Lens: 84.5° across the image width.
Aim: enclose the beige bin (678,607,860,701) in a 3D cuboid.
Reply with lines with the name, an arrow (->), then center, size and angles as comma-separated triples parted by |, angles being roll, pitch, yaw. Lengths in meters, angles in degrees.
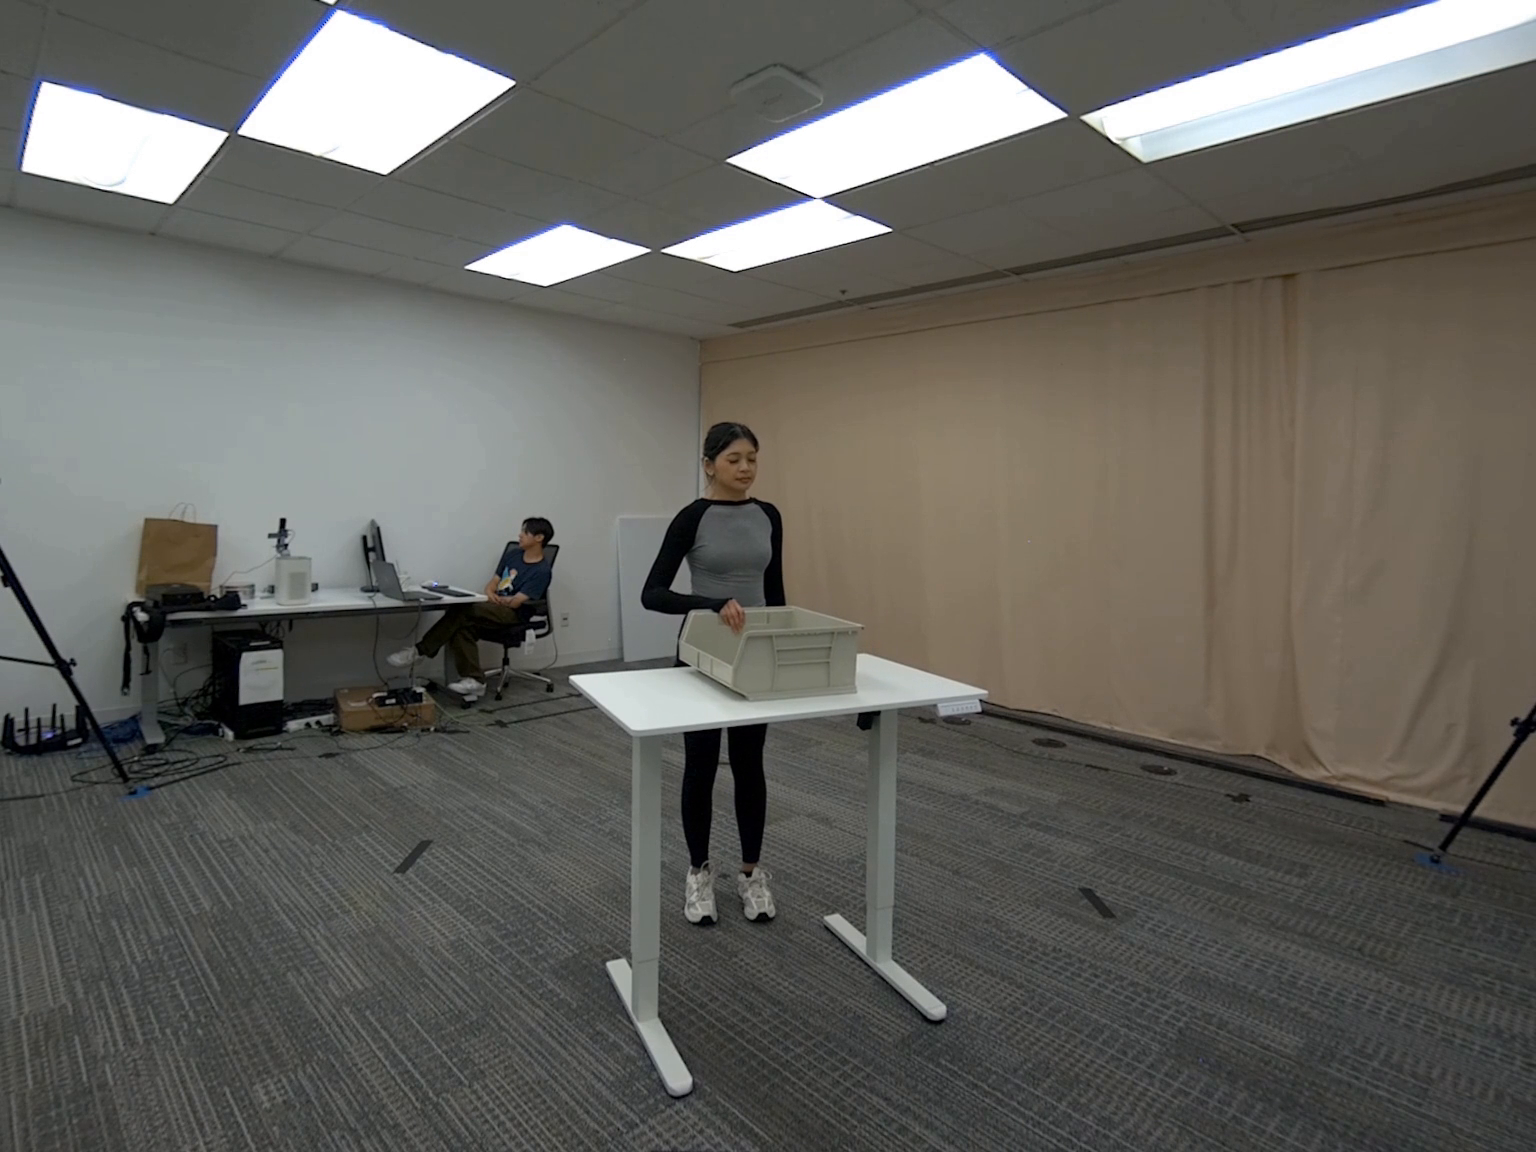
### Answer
beige bin -> -0.015, 0.213, 2.345 | 0.371, 0.188, 0.430 | 0, 4, -24
